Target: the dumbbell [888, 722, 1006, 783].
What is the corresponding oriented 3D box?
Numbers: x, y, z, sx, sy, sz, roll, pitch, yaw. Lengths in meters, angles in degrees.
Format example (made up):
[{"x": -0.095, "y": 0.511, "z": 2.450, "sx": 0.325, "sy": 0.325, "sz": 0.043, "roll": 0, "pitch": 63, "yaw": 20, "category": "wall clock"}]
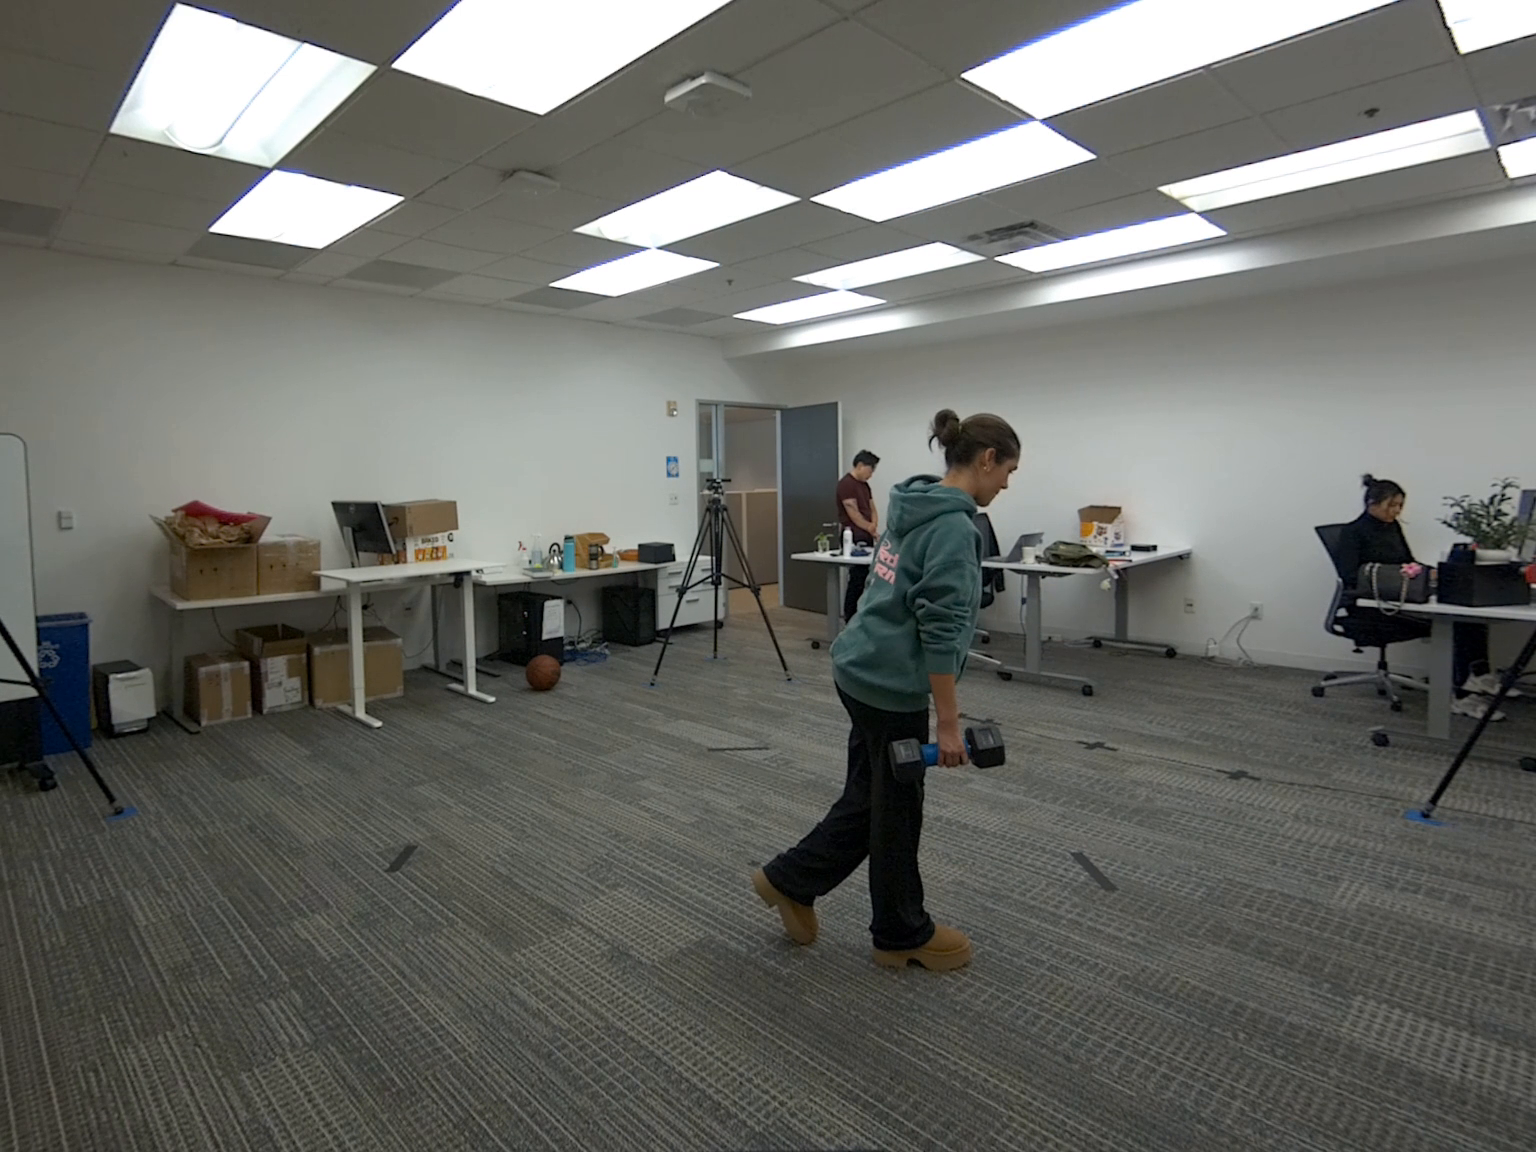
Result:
[{"x": 0.482, "y": 0.475, "z": 2.270, "sx": 0.294, "sy": 0.120, "sz": 0.111, "roll": -11, "pitch": 22, "yaw": 3, "category": "dumbbell"}]
